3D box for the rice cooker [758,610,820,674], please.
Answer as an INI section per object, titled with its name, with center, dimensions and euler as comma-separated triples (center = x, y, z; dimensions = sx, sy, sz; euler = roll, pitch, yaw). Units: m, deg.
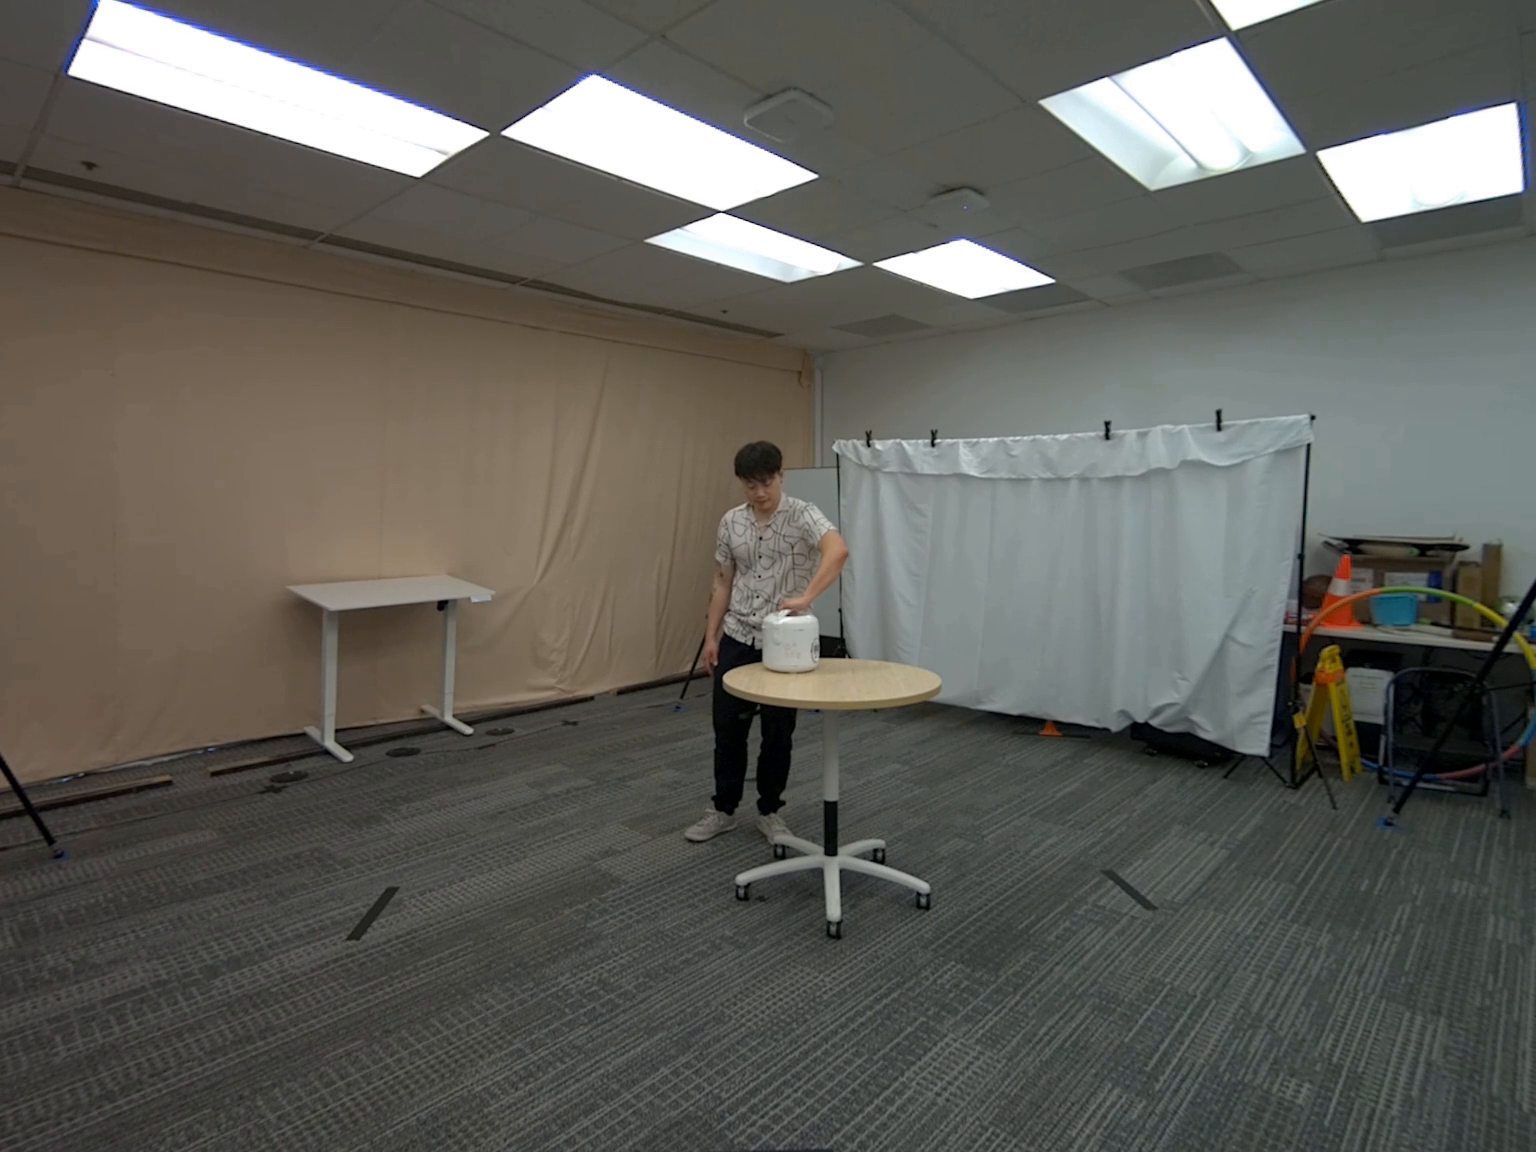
[rice cooker]
center = 0.090, 0.232, 3.147
dimensions = 0.224, 0.232, 0.214
euler = 0, 3, 32
